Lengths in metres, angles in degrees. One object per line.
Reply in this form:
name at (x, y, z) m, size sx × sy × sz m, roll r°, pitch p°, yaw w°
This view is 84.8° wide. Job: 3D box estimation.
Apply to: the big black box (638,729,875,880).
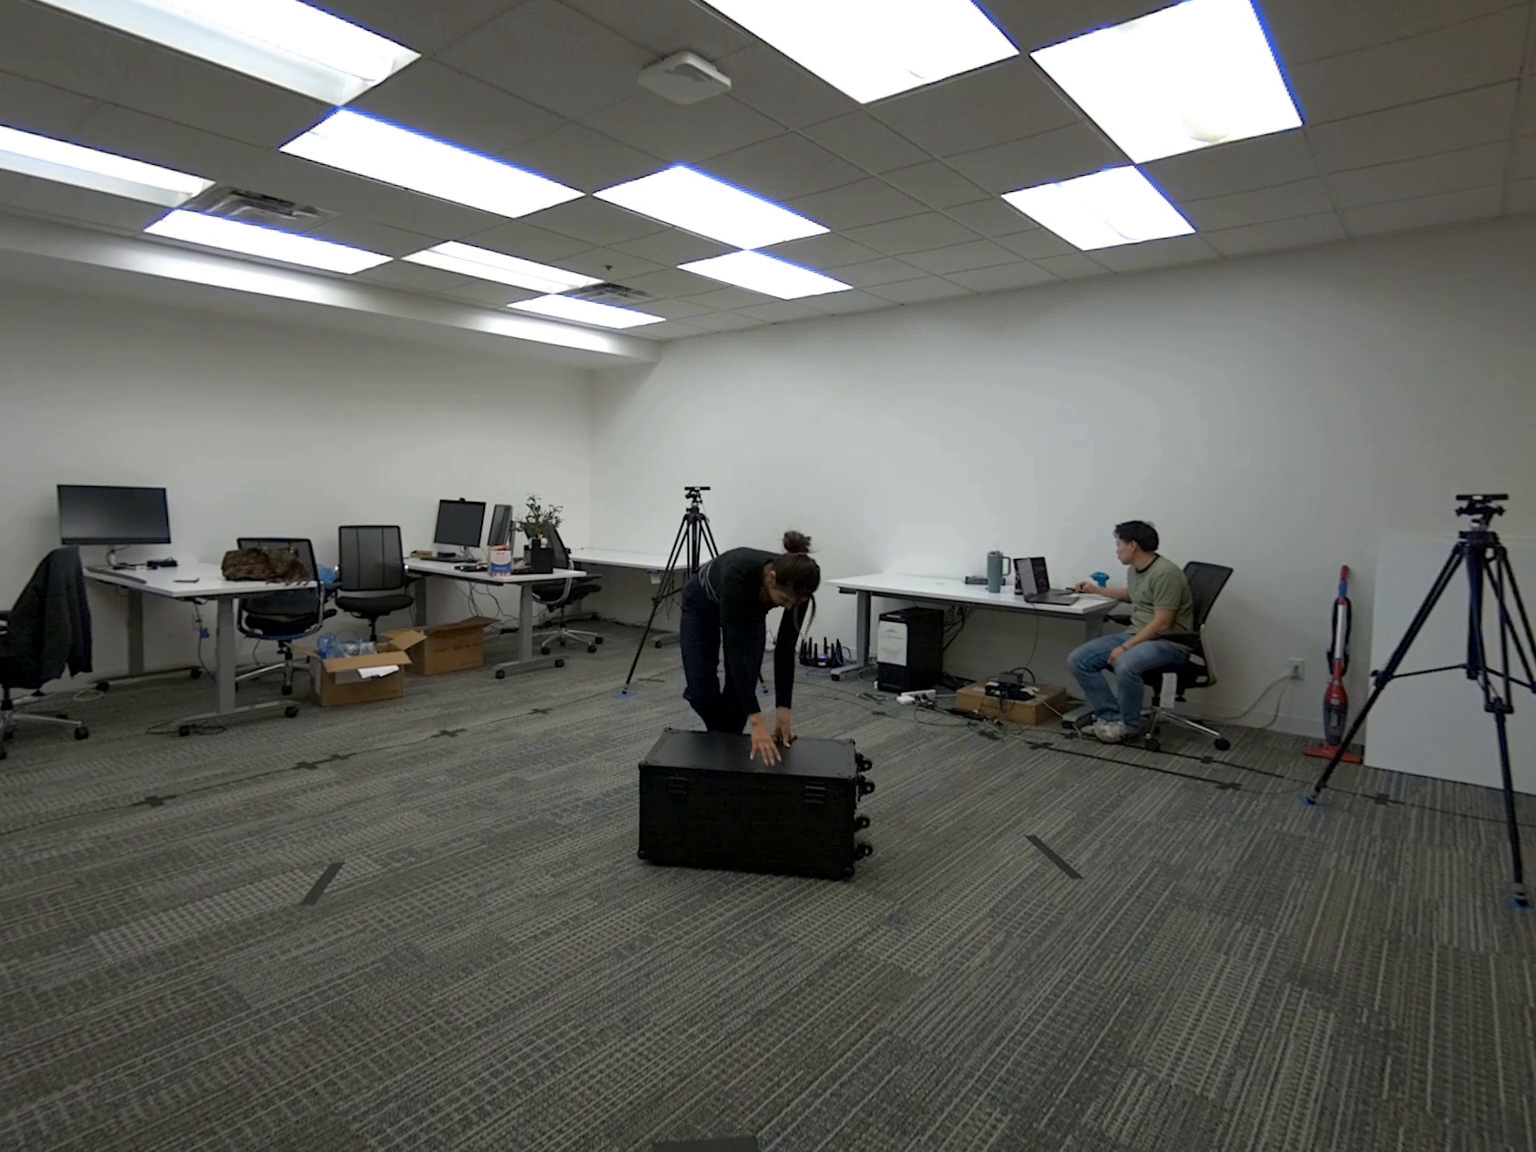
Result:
big black box at (-0.040, 0.855, 3.277) m, size 0.869 × 0.395 × 0.518 m, roll 1°, pitch 4°, yaw 7°
